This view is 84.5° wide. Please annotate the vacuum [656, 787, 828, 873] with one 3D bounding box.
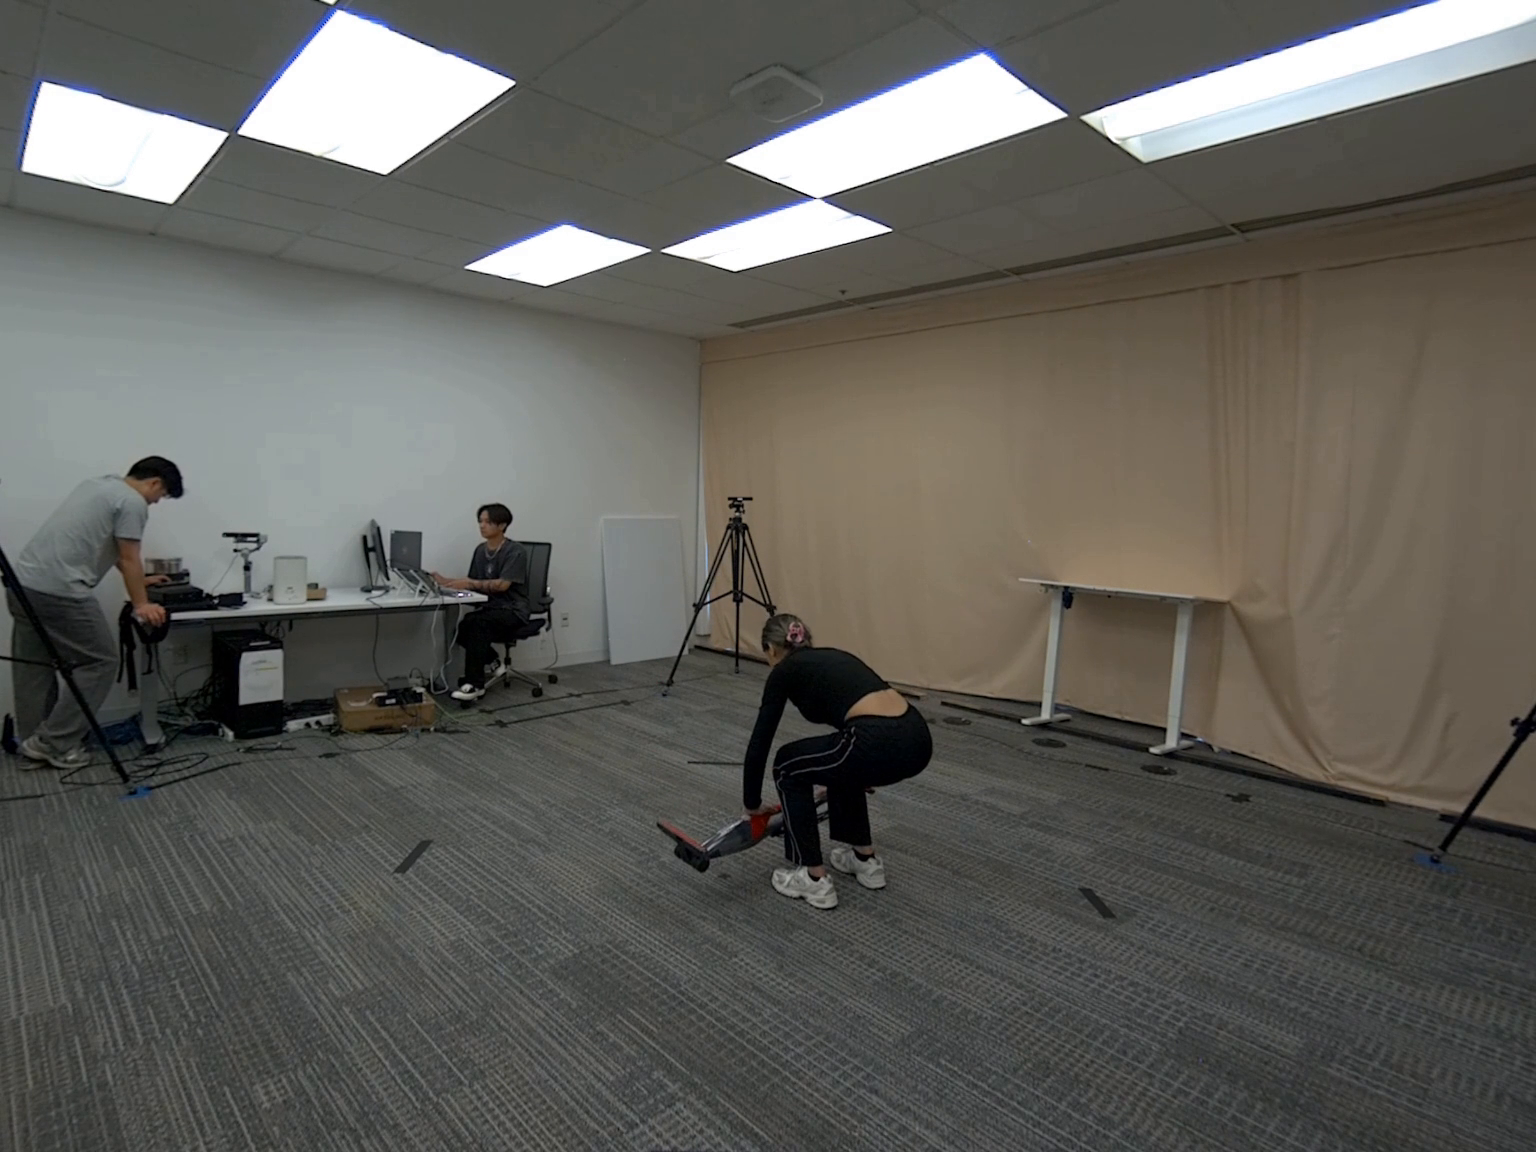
[{"bbox_3d":[0.064,0.928,3.244,1.024,0.143,0.260,-1,15,-45],"label":"vacuum"}]
